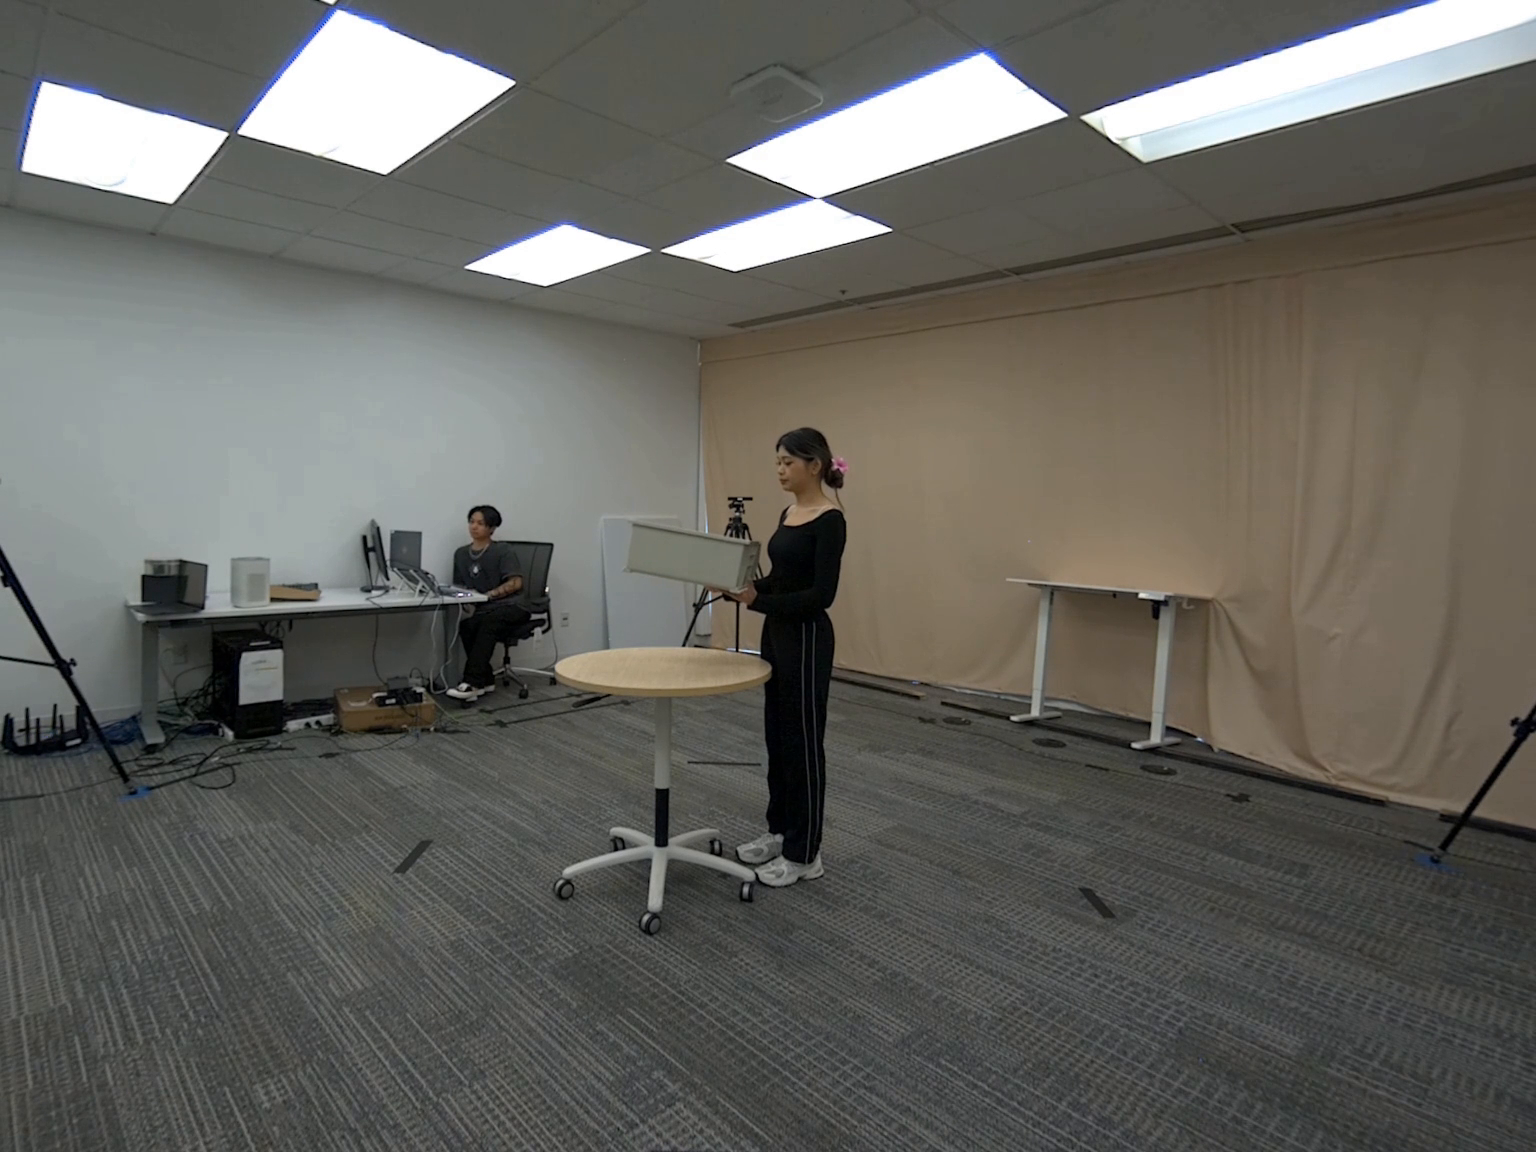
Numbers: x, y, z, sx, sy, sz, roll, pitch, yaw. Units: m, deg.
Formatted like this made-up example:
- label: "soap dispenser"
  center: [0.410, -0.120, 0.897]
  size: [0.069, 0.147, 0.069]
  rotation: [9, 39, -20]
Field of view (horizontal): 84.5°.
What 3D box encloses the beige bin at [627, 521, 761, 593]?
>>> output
- label: "beige bin"
  center: [-0.263, -0.067, 2.993]
  size: [0.425, 0.189, 0.375]
  rotation: [13, 3, 7]
